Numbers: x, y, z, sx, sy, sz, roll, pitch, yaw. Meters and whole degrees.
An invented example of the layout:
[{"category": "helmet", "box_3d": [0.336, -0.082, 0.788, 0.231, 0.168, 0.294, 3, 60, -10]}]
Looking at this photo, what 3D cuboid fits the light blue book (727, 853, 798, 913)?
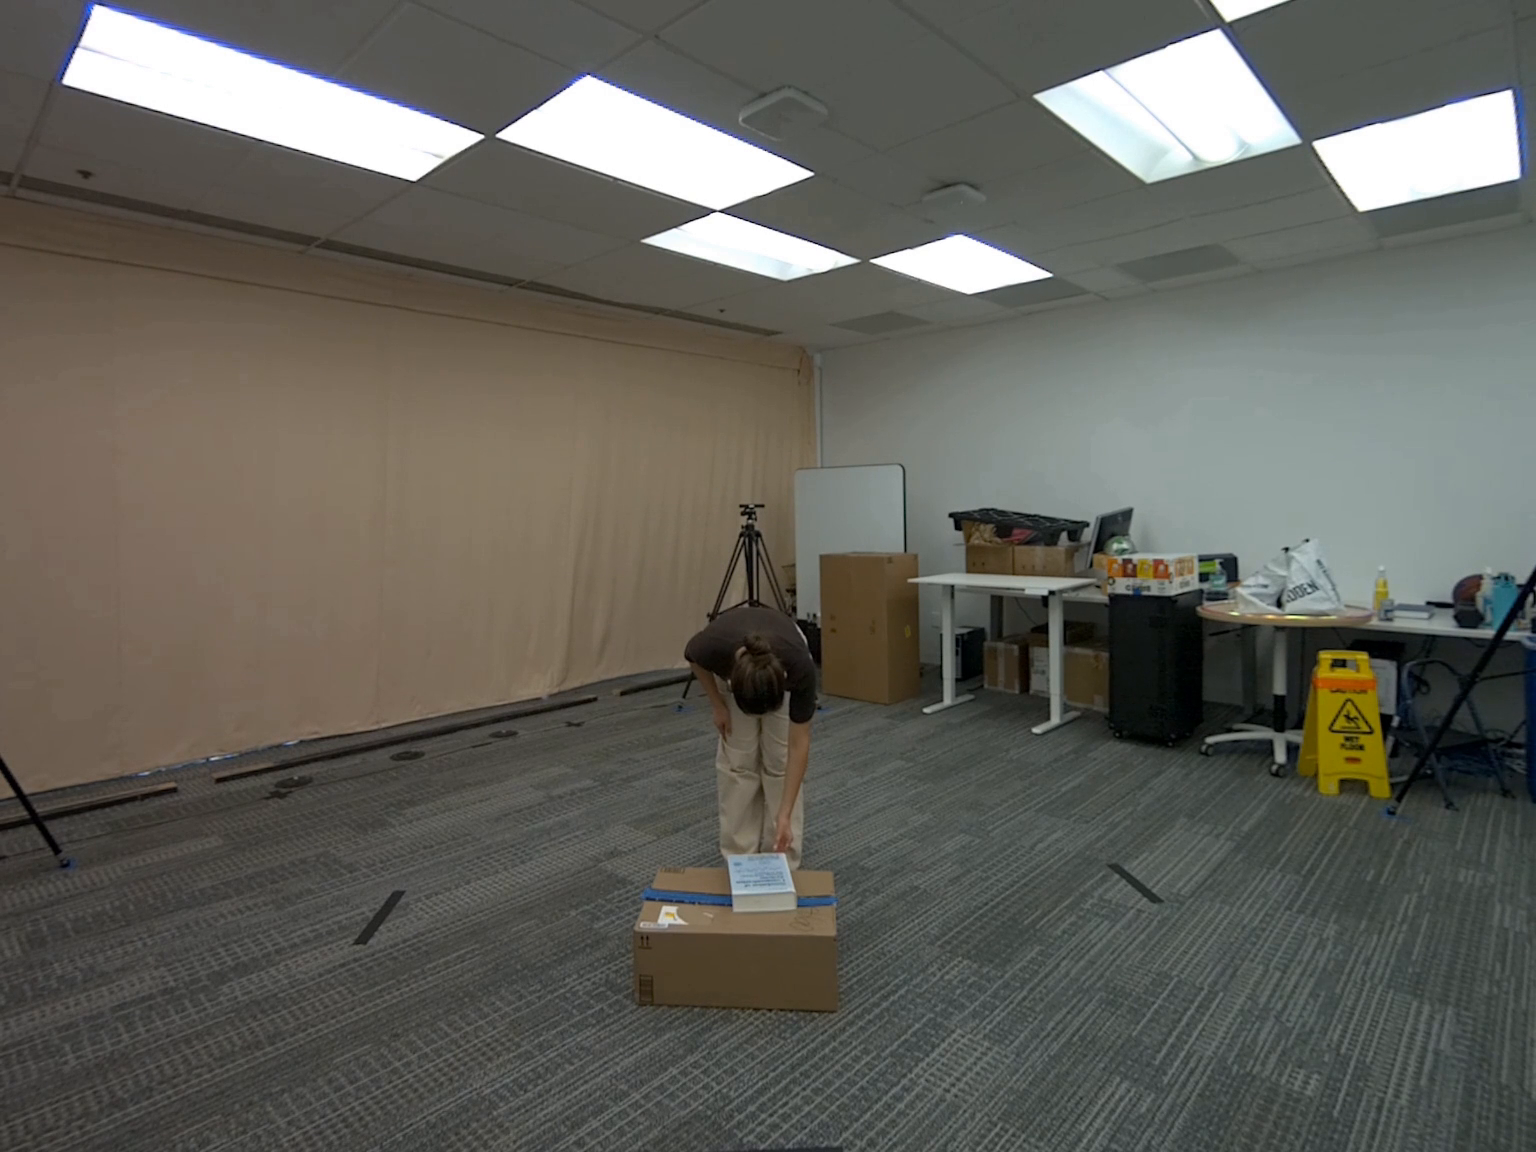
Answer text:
[{"category": "light blue book", "box_3d": [-0.022, 0.929, 2.582, 0.191, 0.059, 0.262, -2, 6, -3]}]
